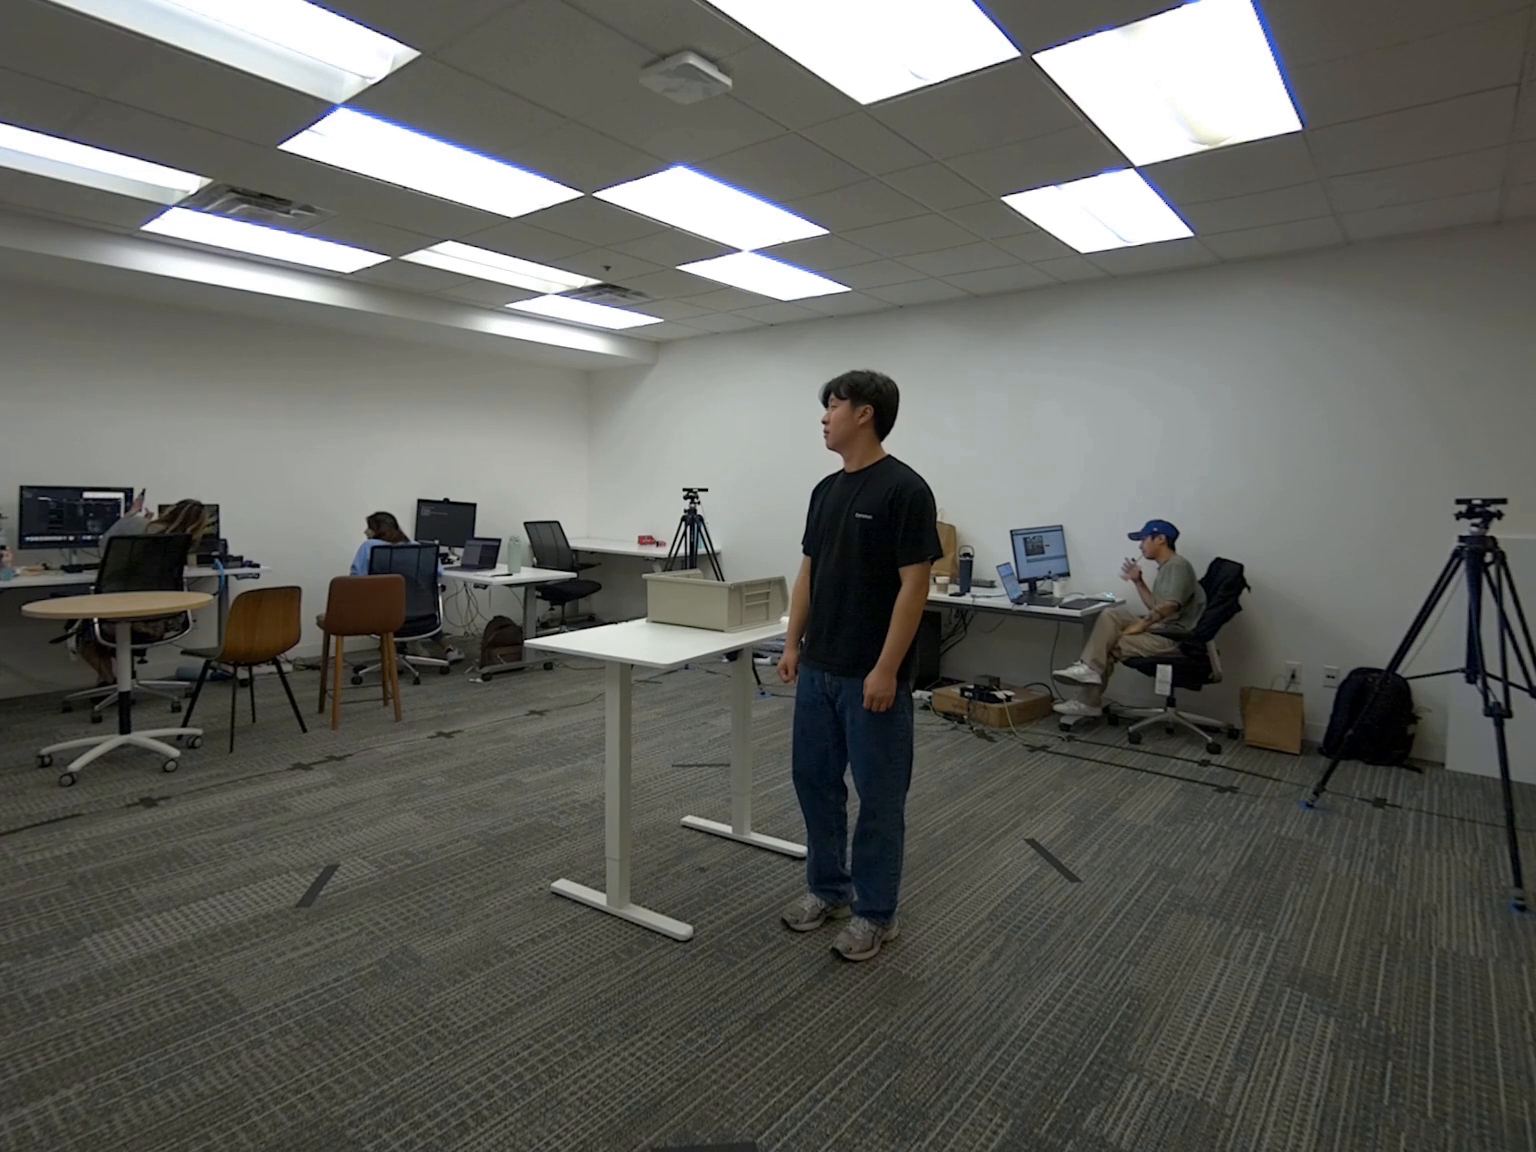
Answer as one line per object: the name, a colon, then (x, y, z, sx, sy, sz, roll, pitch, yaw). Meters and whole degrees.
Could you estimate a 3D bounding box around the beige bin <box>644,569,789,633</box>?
beige bin: (-0.208, 0.087, 3.233, 0.436, 0.188, 0.367, 5, 8, 36)
